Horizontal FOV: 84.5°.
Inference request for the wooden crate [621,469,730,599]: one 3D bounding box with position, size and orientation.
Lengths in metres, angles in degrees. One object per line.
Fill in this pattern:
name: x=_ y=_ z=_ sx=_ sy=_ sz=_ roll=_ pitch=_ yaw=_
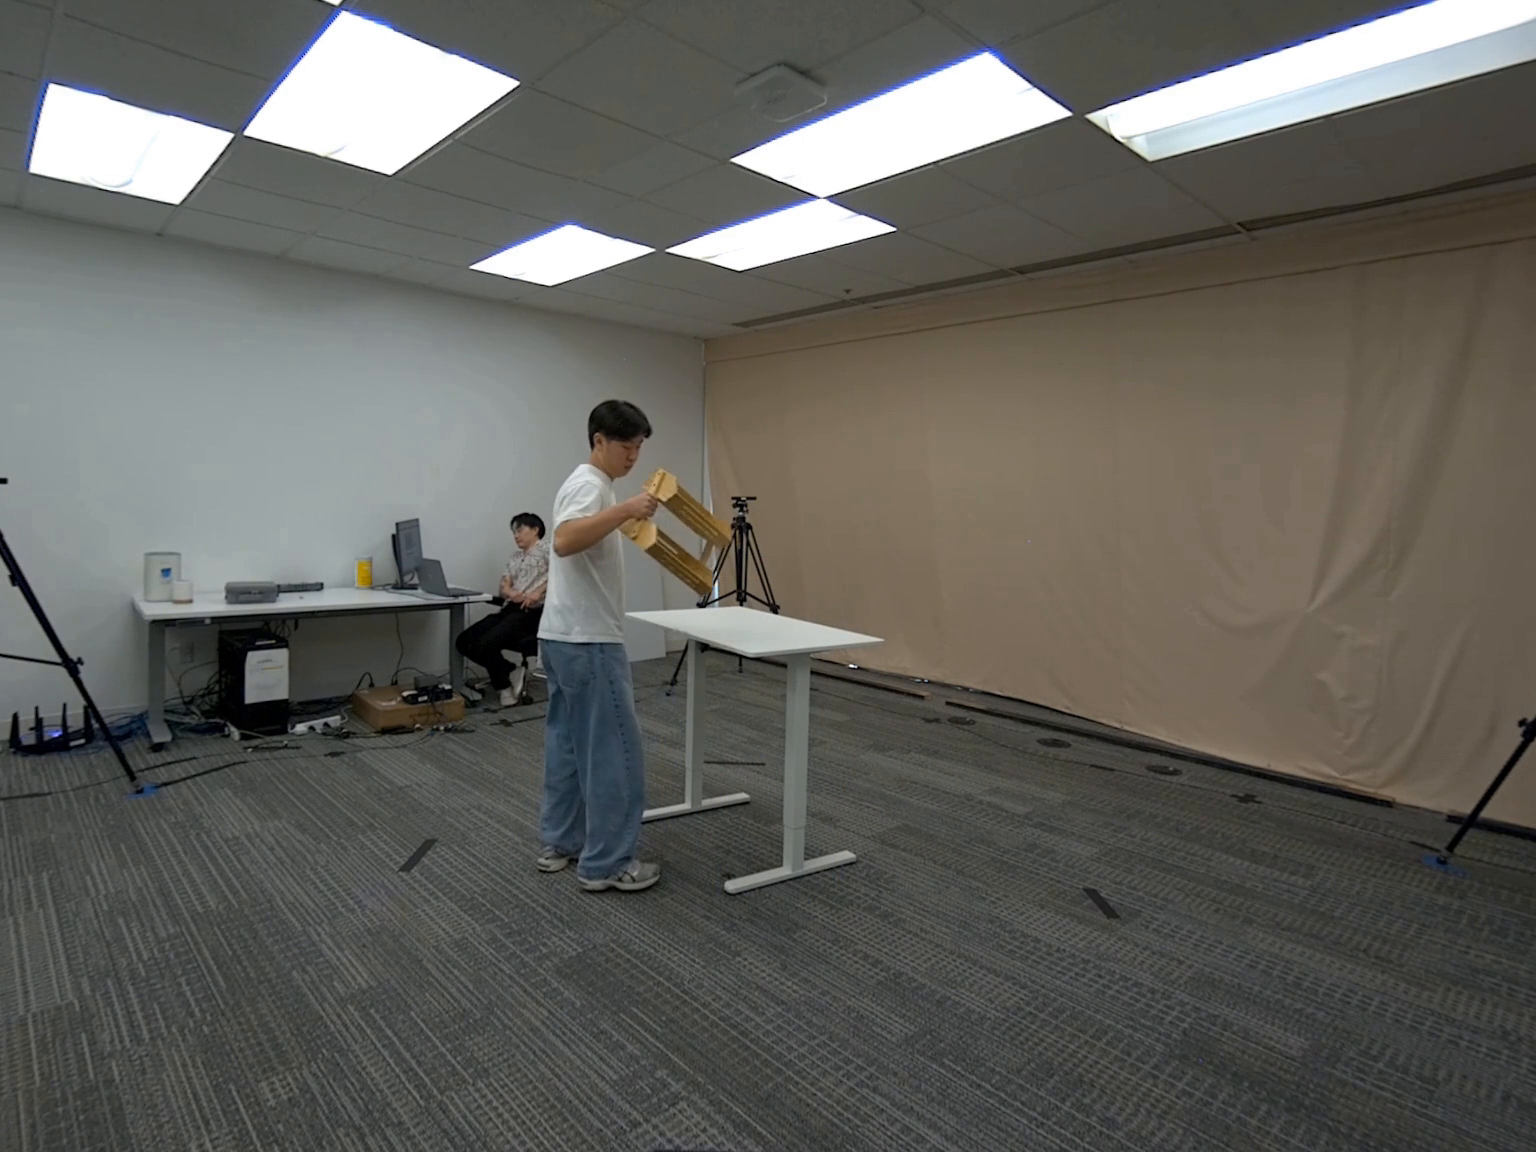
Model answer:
wooden crate: x=-0.297 y=-0.133 z=2.907 sx=0.314 sy=0.273 sz=0.311 roll=42 pitch=-6 yaw=-38
